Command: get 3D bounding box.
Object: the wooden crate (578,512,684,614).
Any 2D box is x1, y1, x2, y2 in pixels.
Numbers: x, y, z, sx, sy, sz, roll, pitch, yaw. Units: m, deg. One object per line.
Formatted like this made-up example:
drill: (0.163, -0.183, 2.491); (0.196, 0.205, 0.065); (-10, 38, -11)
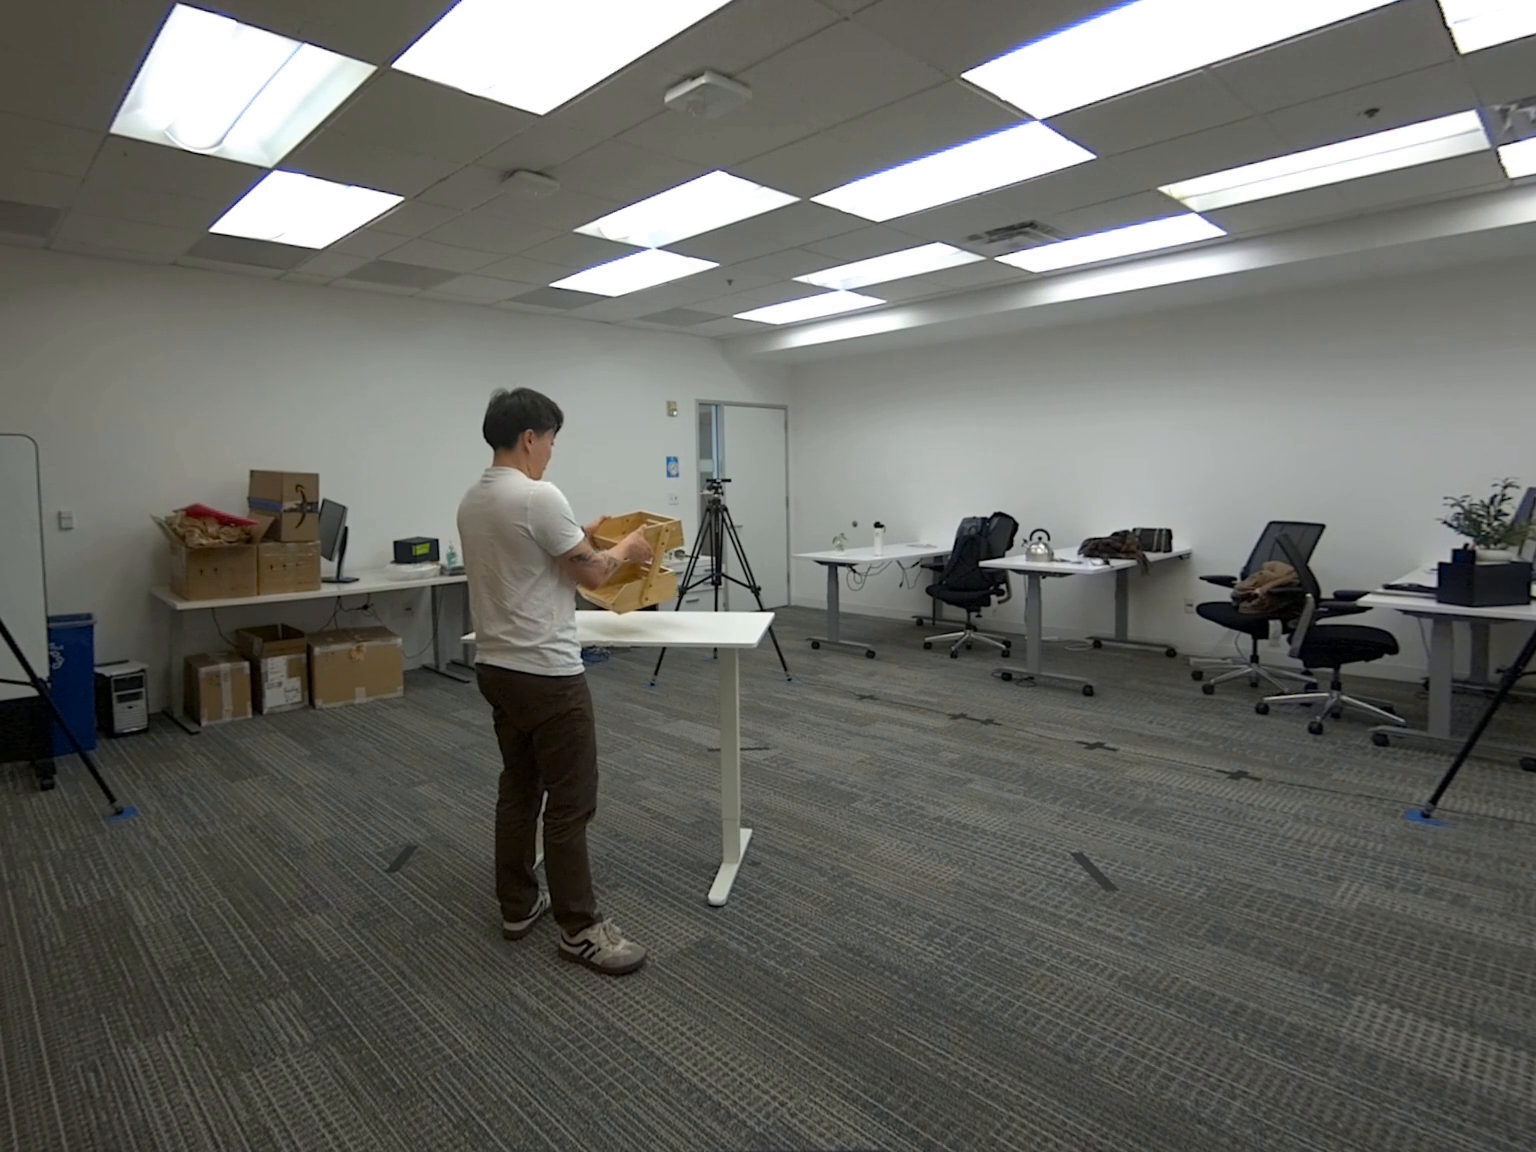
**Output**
wooden crate: (-0.490, -0.060, 2.969); (0.296, 0.269, 0.335); (-16, 17, -31)
